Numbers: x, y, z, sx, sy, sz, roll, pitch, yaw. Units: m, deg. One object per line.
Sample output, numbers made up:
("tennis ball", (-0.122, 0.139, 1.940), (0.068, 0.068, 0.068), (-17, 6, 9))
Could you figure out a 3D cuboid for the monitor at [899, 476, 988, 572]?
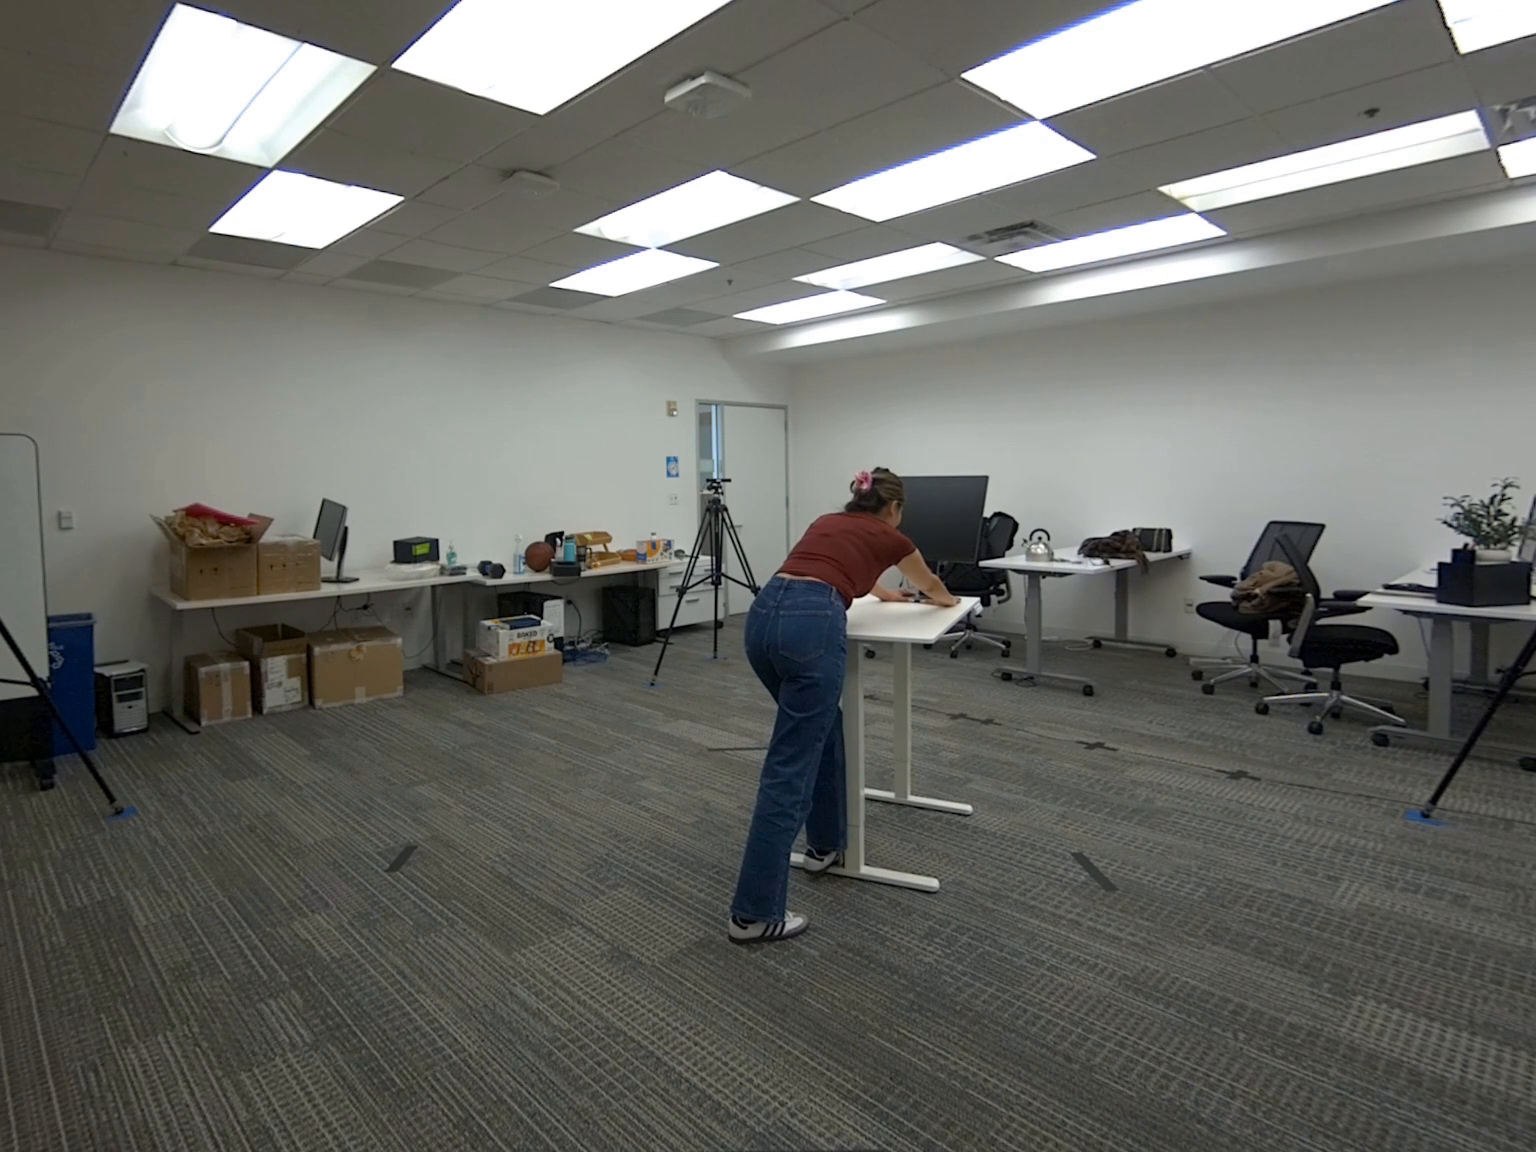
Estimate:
("monitor", (0.651, -0.155, 3.538), (0.556, 0.521, 0.182), (5, 3, 39))
